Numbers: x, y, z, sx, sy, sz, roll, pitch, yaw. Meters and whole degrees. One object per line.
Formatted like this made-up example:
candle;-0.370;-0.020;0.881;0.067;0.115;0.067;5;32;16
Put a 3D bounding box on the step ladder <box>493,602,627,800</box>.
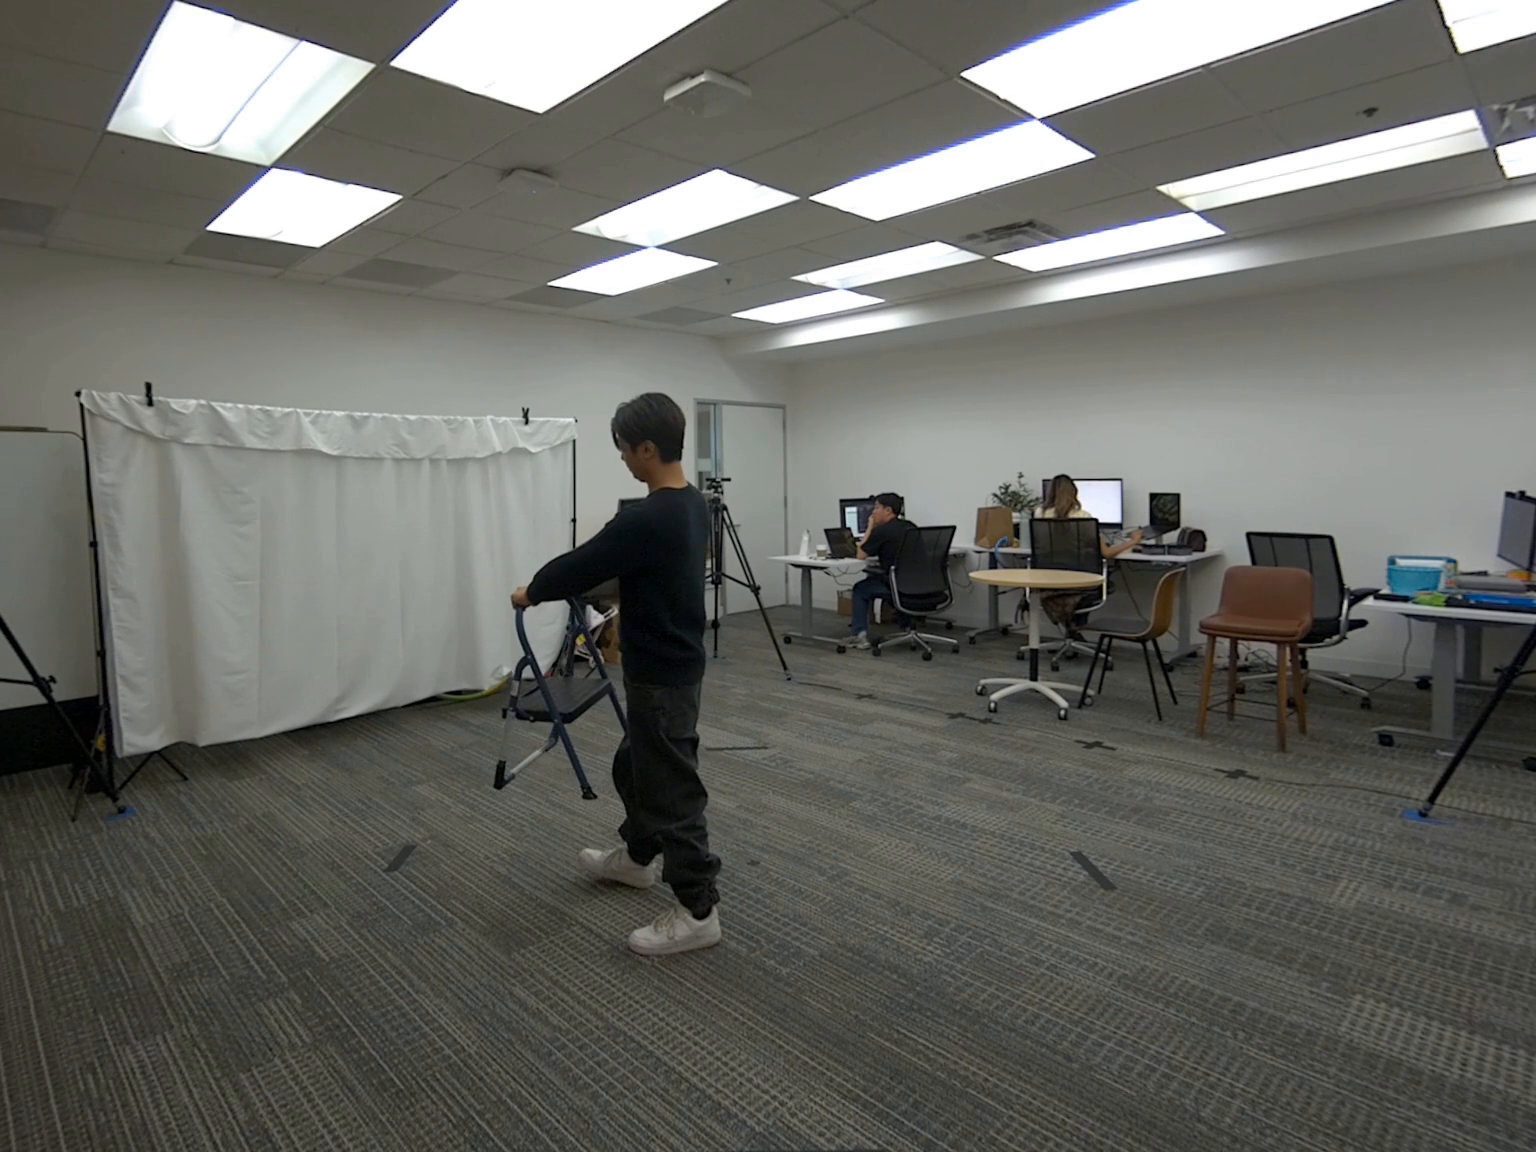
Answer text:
step ladder;-0.670;0.352;2.811;0.354;0.602;0.428;0;8;12
